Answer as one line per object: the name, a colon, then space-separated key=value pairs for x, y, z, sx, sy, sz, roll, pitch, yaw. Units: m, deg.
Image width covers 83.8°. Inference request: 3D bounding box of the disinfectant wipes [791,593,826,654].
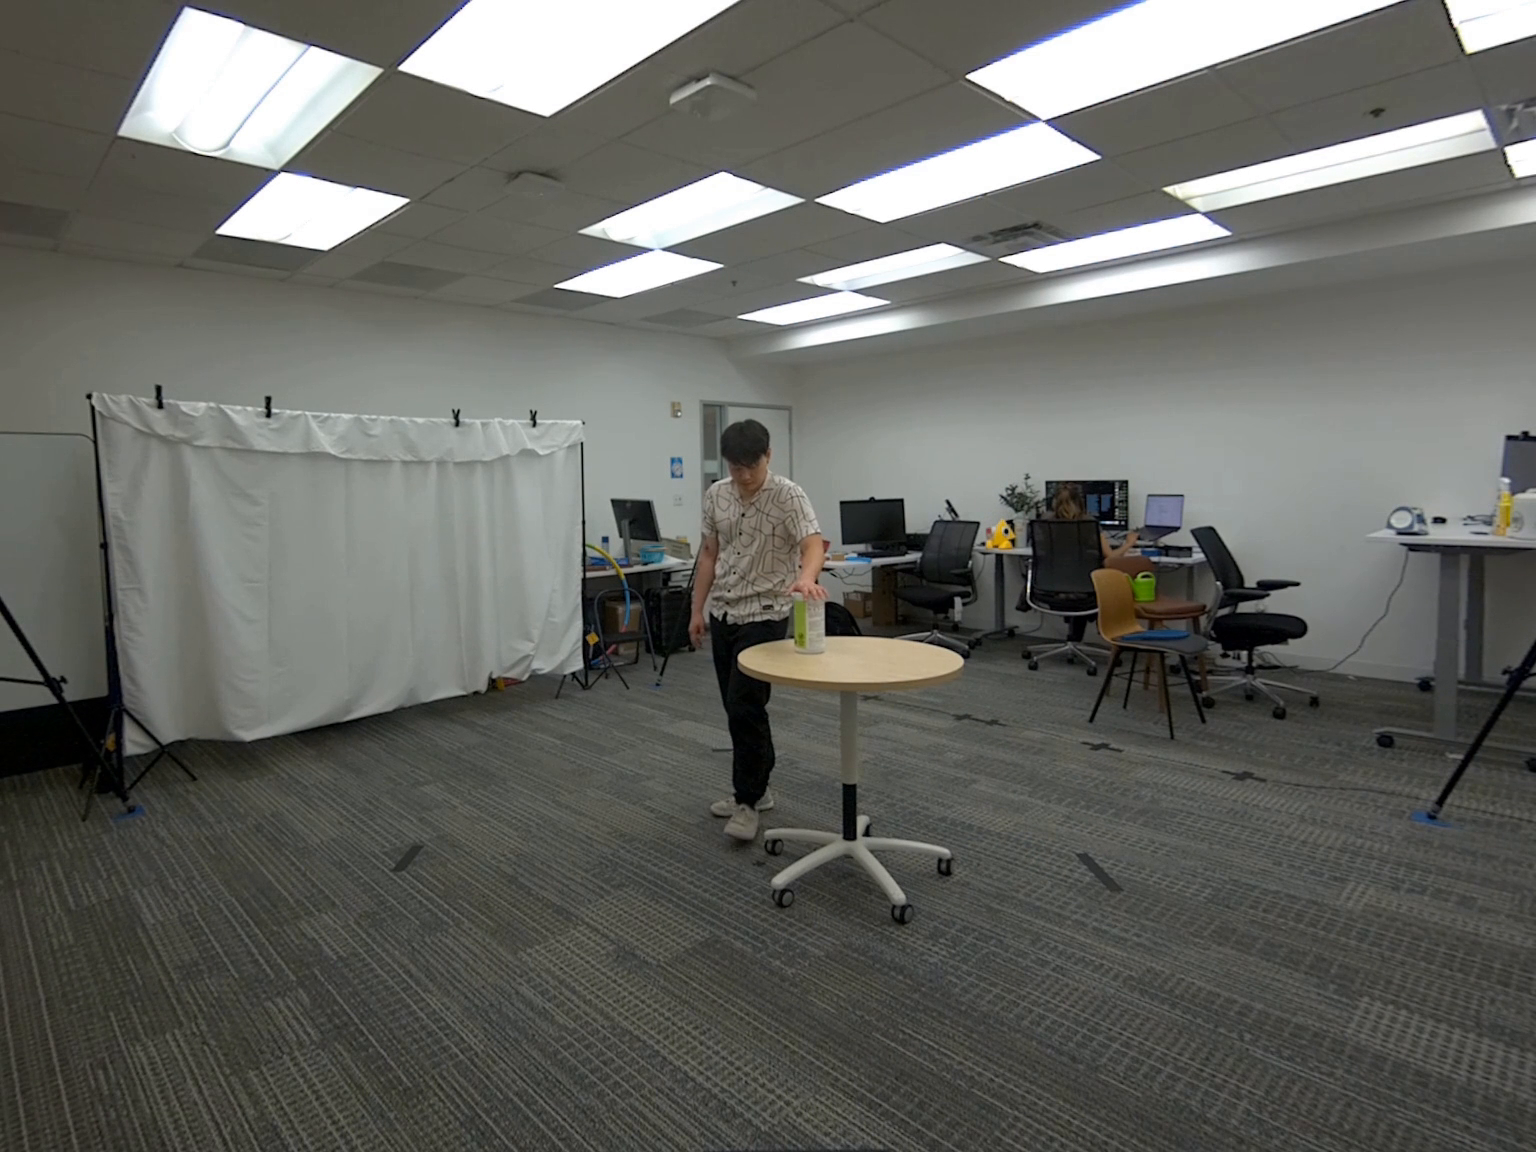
disinfectant wipes: x=0.152 y=0.167 z=3.044 sx=0.118 sy=0.217 sz=0.118 roll=-3 pitch=2 yaw=-2
